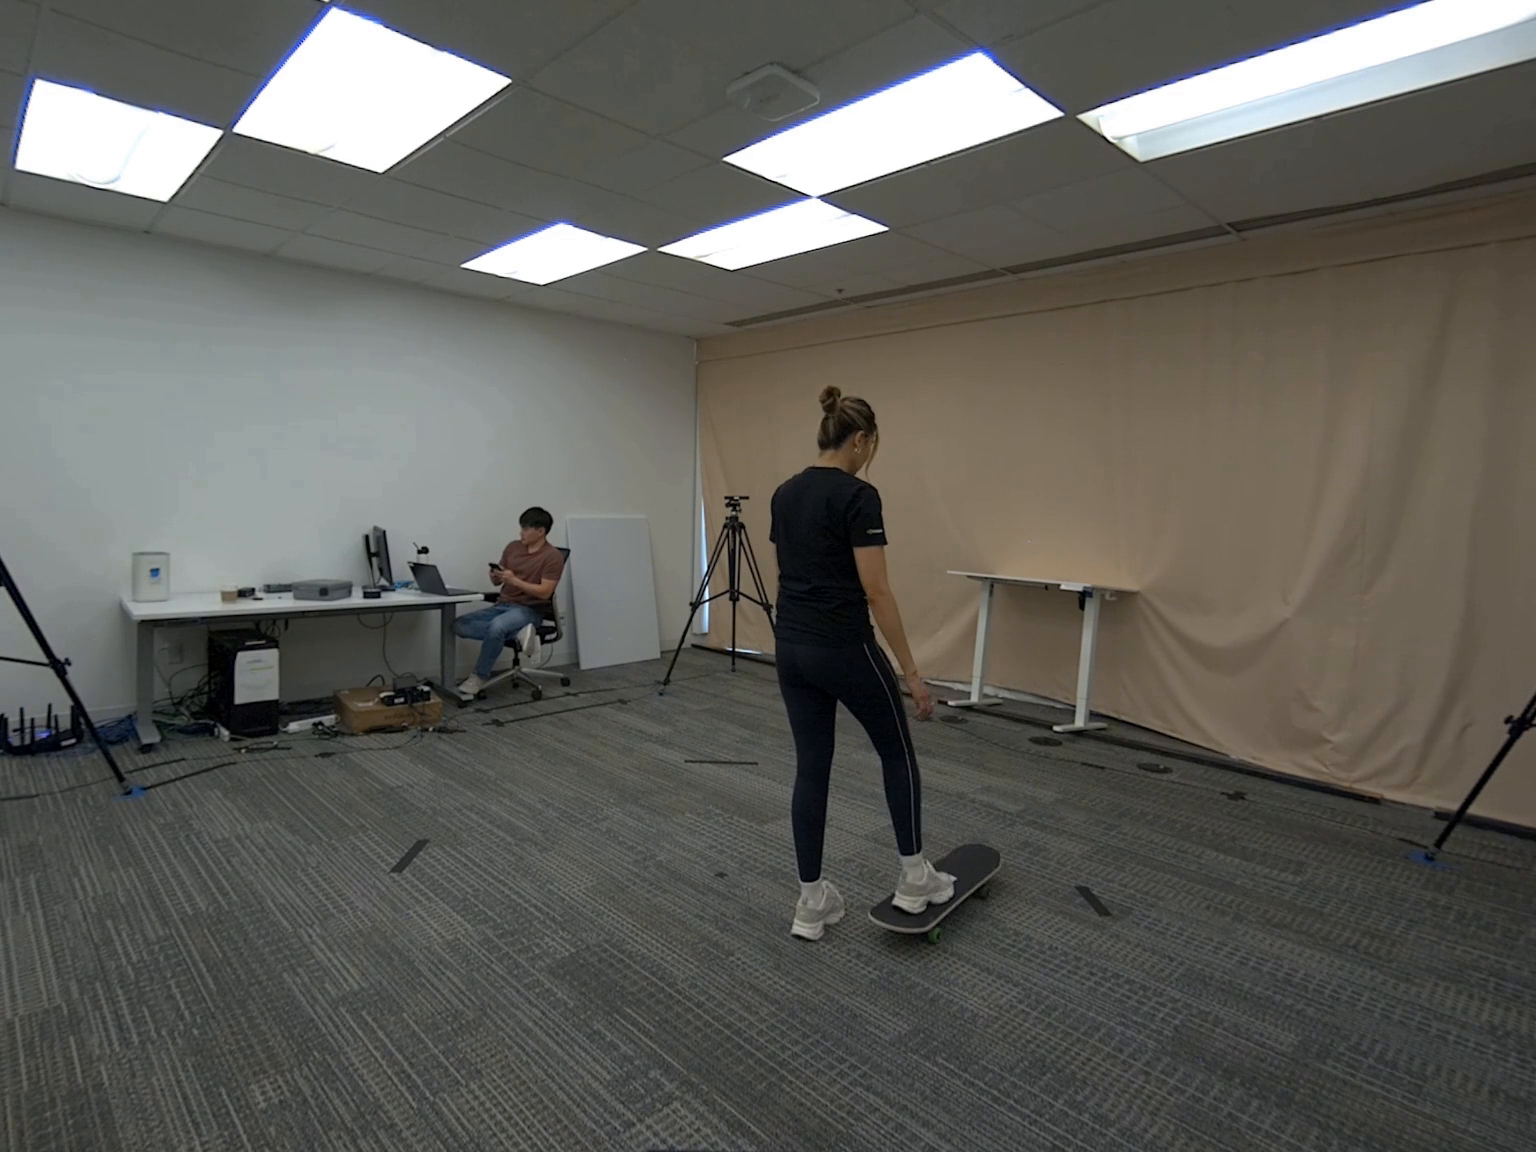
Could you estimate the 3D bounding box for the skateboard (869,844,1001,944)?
[{"bbox_3d":[0.573,1.089,2.863,0.198,0.110,0.768,4,6,37],"label":"skateboard"}]
